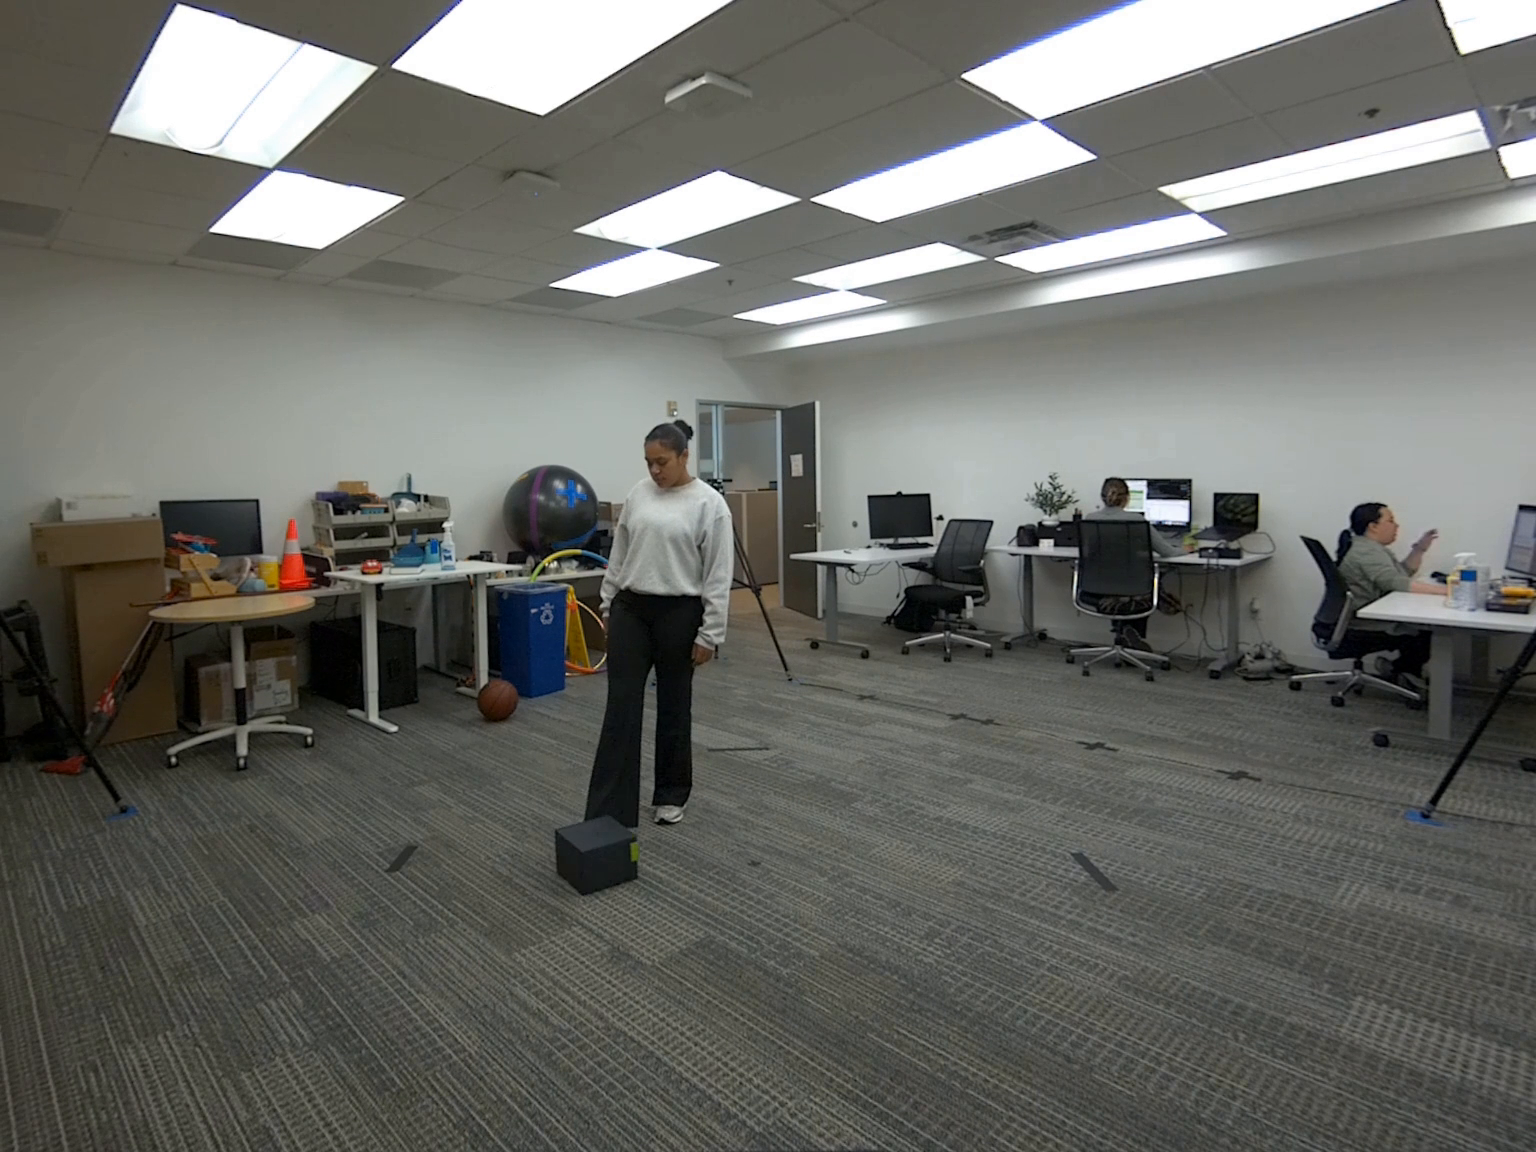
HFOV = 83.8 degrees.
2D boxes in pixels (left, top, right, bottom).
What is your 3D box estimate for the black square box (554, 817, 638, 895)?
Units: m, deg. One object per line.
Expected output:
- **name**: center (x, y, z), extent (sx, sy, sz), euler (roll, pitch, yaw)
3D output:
- **black square box**: center (-0.614, 0.984, 3.038), extent (0.211, 0.155, 0.235), euler (-5, 7, -35)
